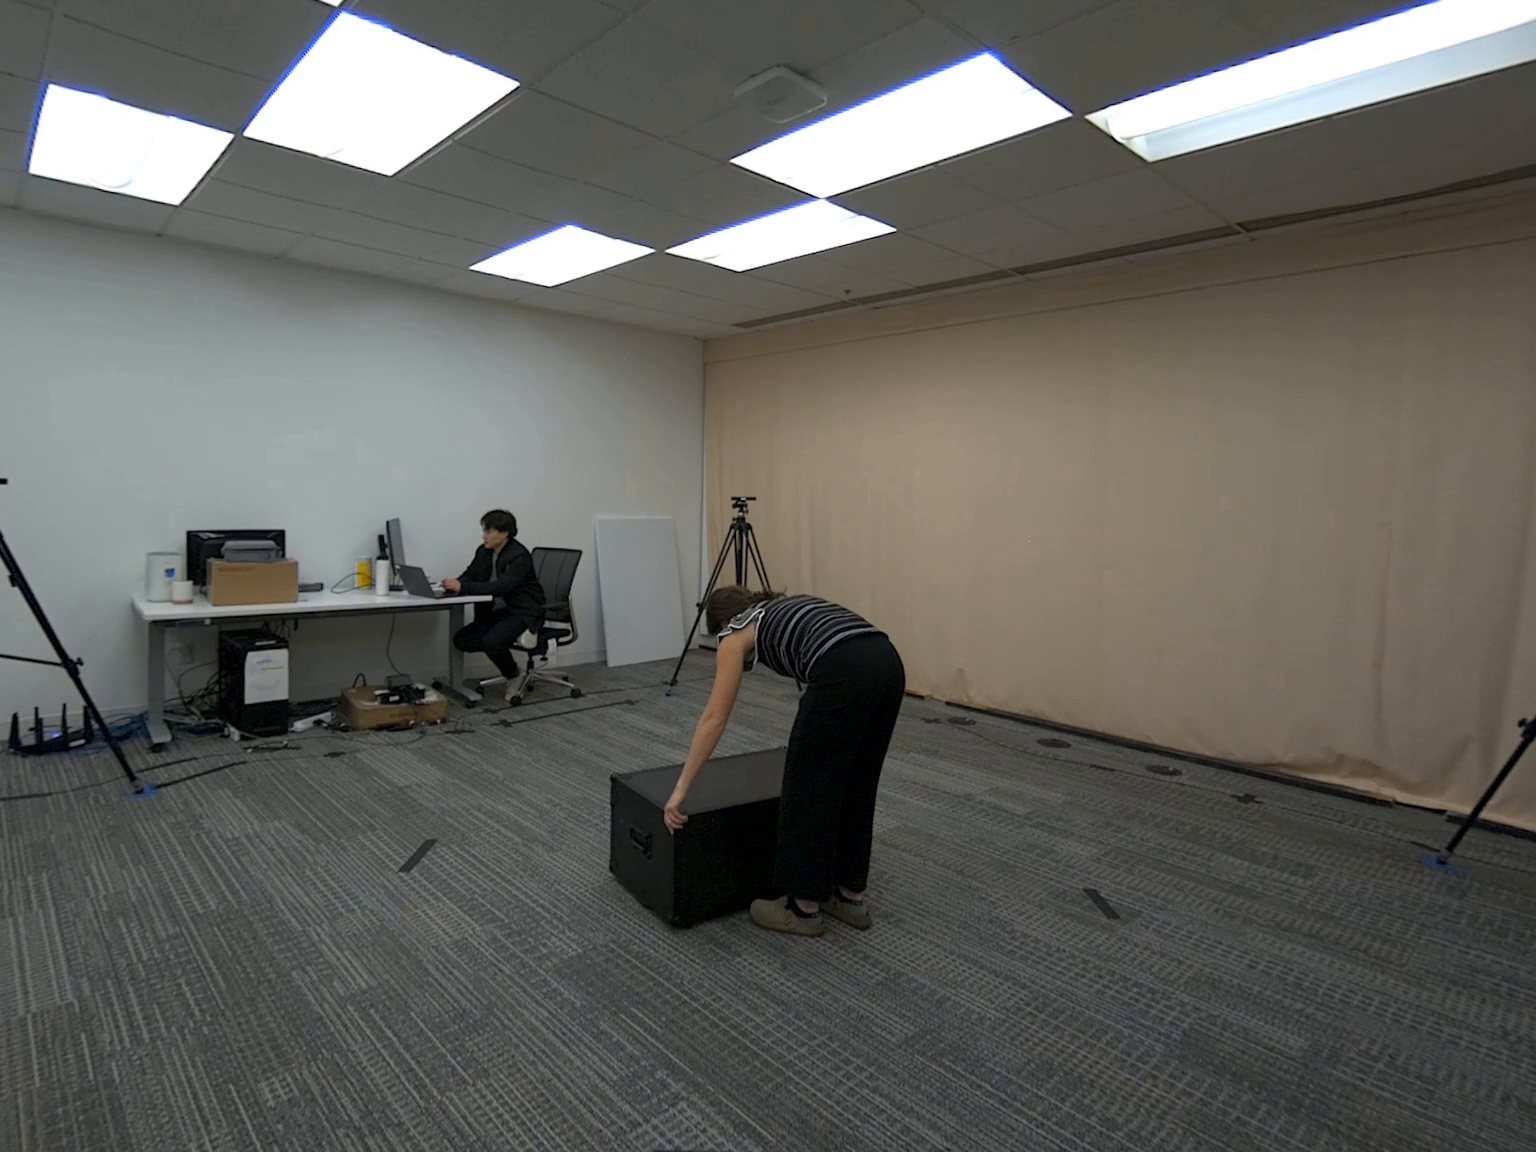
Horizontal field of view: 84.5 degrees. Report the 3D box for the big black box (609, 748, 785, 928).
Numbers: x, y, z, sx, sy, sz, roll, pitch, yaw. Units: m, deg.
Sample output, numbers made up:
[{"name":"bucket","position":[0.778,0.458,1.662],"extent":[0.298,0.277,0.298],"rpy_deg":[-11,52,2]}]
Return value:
[{"name":"big black box","position":[-0.099,0.917,3.087],"extent":[0.843,0.395,0.534],"rpy_deg":[-3,6,-34]}]
